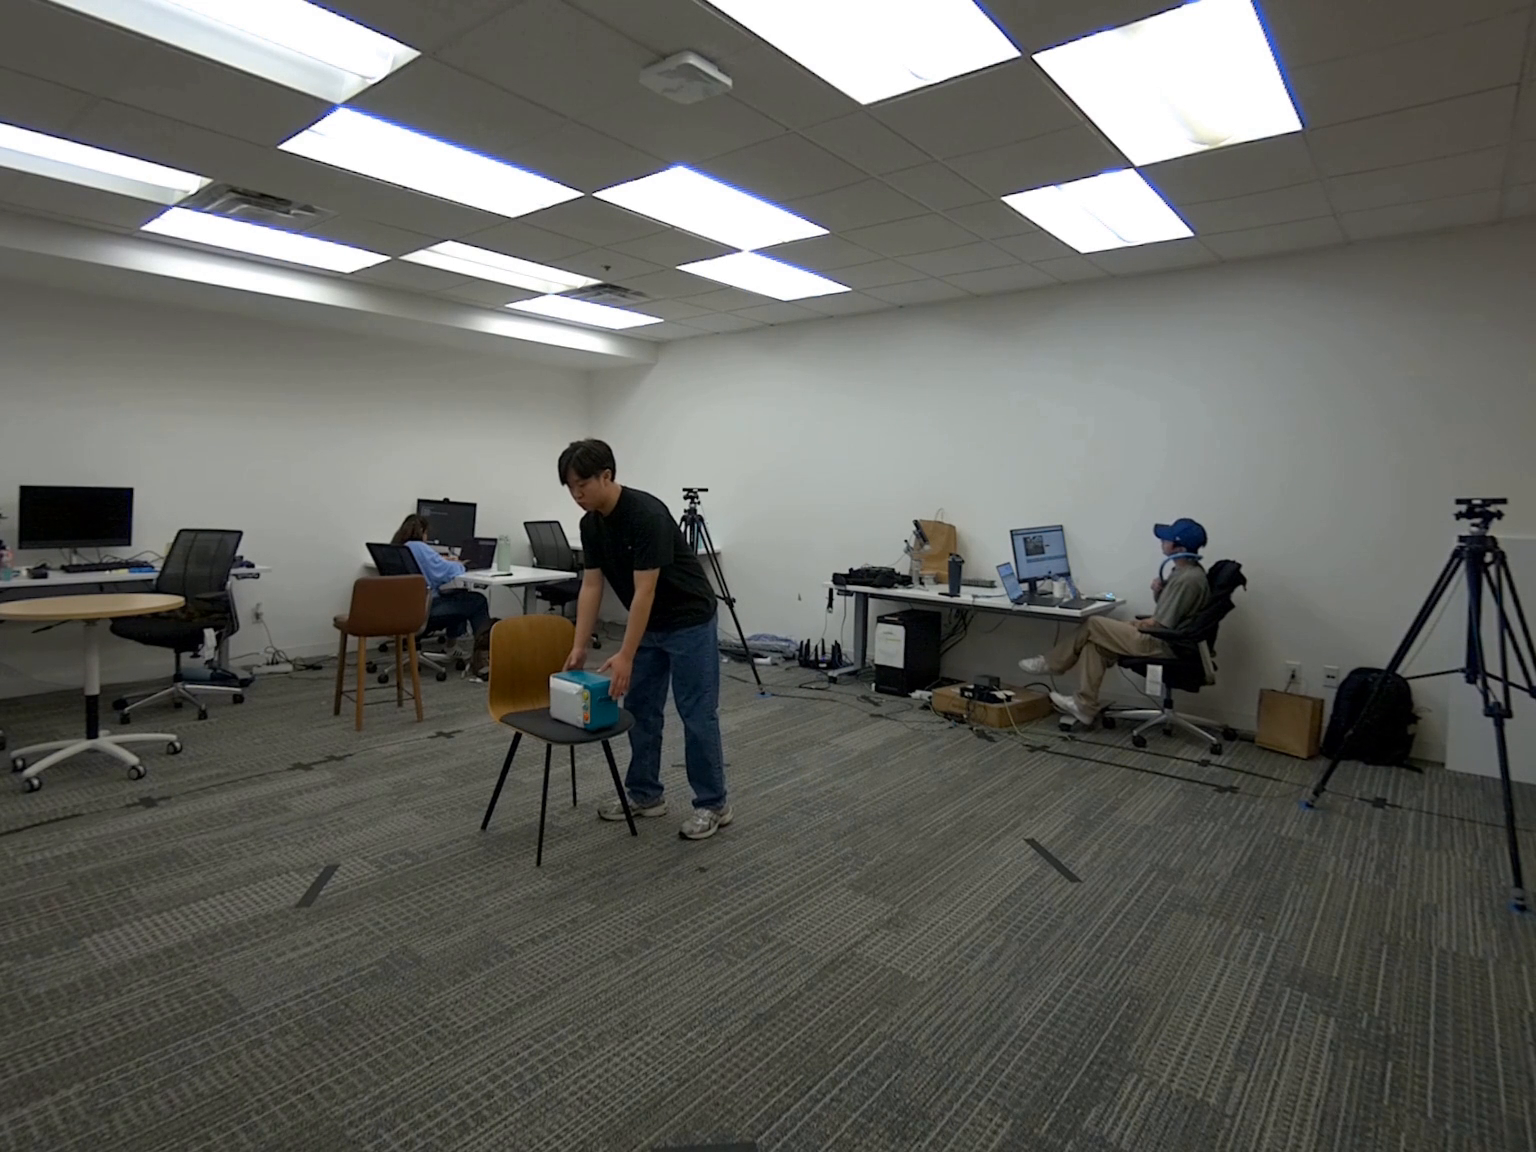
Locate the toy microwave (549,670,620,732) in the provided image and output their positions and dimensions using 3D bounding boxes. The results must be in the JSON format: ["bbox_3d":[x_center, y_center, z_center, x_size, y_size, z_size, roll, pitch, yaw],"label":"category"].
[{"bbox_3d":[-0.743,0.474,3.288,0.148,0.183,0.296,-3,7,-41],"label":"toy microwave"}]
